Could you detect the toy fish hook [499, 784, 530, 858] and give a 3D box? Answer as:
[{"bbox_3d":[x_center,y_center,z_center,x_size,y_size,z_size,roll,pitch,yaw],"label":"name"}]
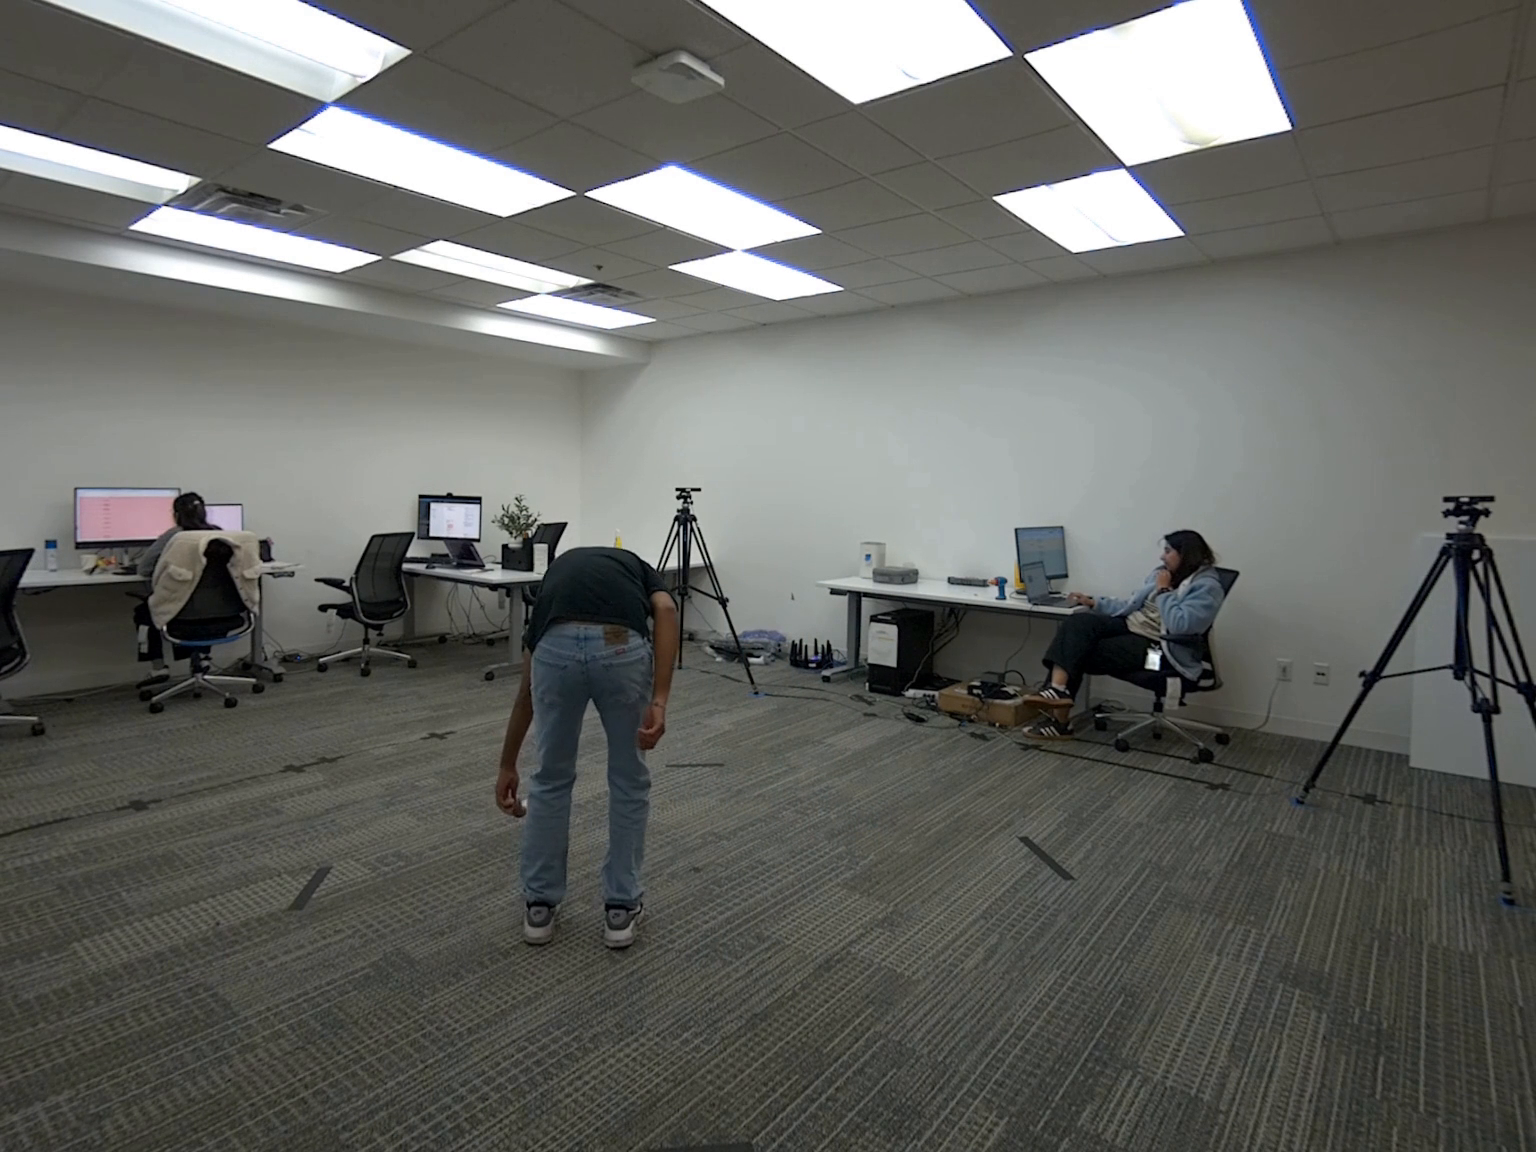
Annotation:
[{"bbox_3d":[-0.893,0.896,3.061,0.048,0.230,0.496,-7,-22,-6],"label":"toy fish hook"}]
